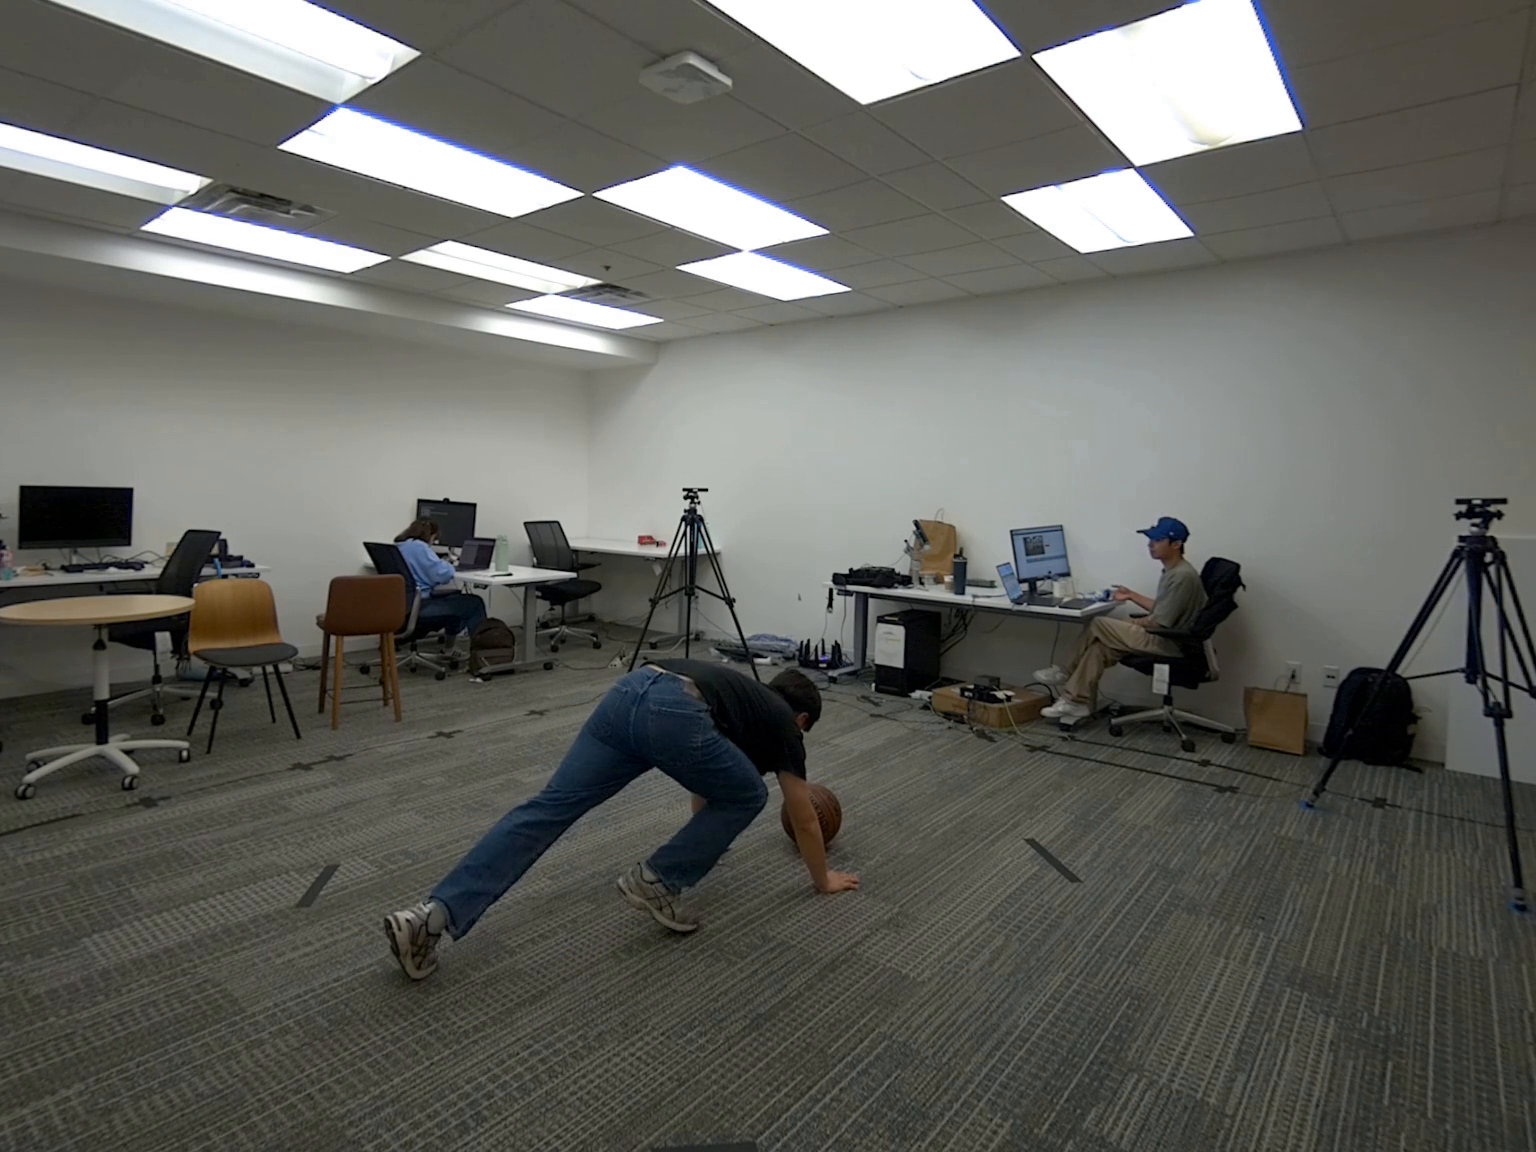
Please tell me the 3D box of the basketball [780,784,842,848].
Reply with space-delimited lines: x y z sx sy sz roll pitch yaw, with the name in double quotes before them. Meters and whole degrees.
"basketball" 0.163 0.929 3.344 0.235 0.235 0.237 1 4 -2
